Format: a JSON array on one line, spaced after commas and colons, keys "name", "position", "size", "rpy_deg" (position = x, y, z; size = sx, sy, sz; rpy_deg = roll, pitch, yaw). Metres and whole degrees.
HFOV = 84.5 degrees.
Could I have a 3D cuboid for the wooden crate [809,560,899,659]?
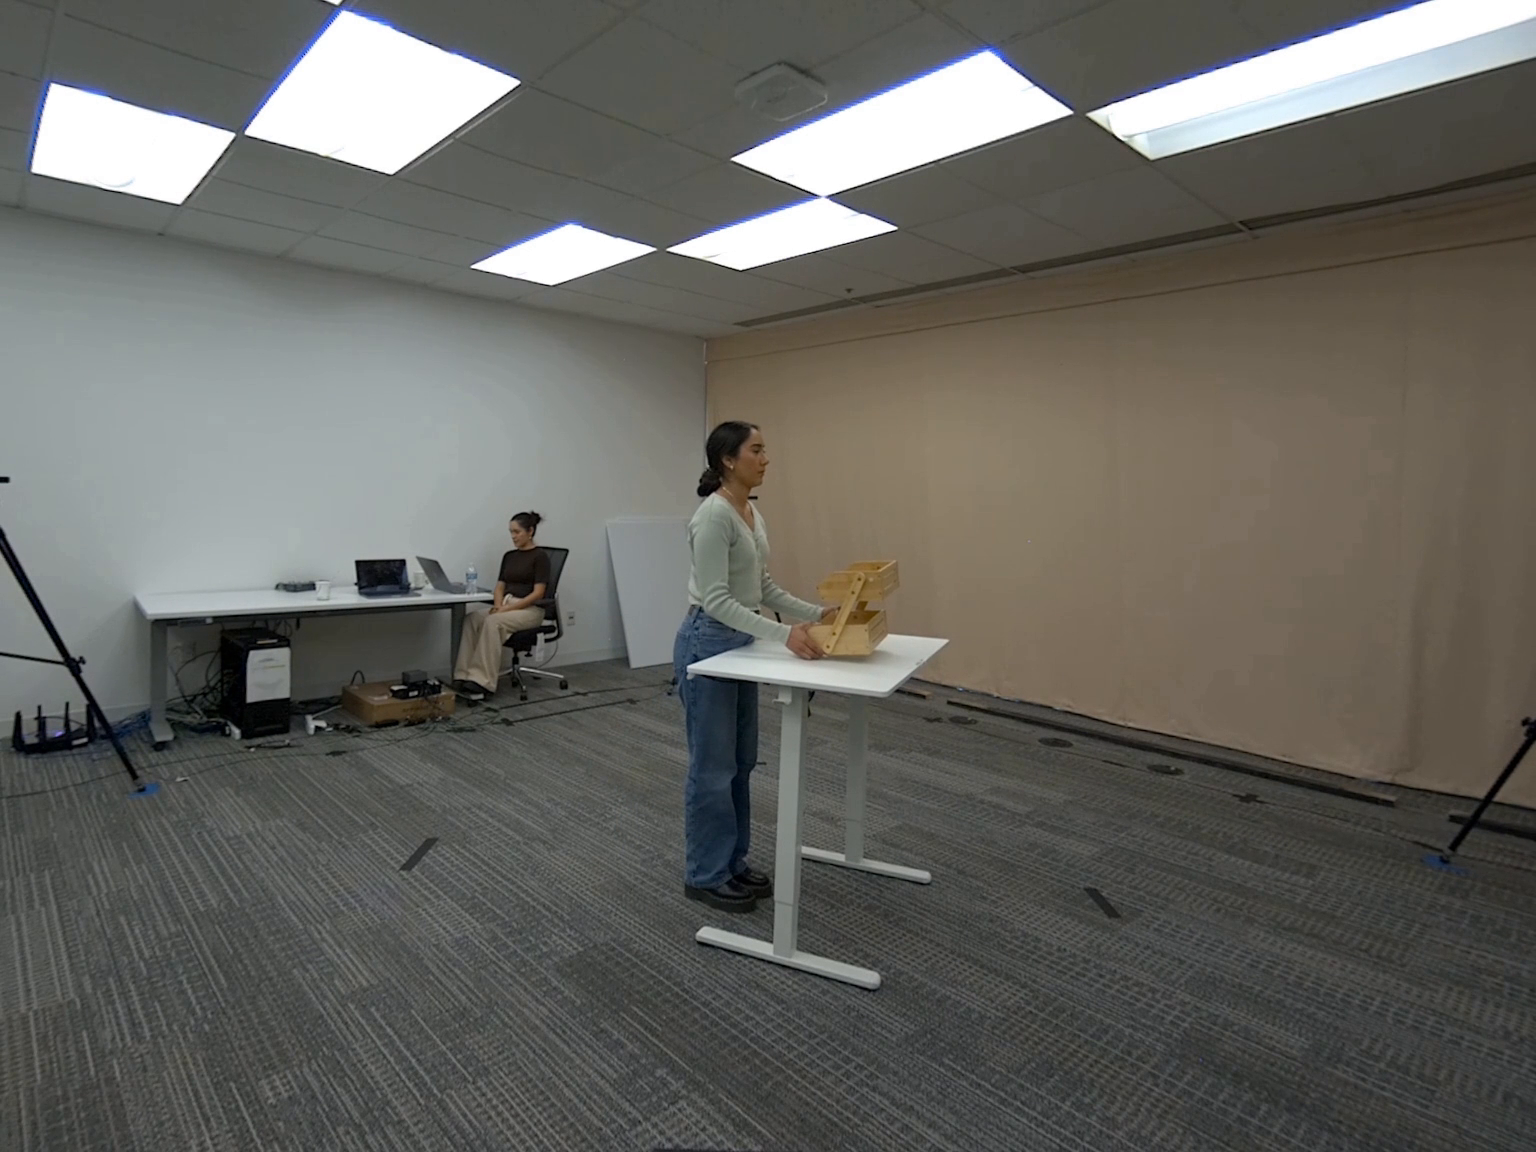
[{"name": "wooden crate", "position": [0.248, 0.098, 2.769], "size": [0.306, 0.272, 0.321], "rpy_deg": [-4, 5, 19]}]
